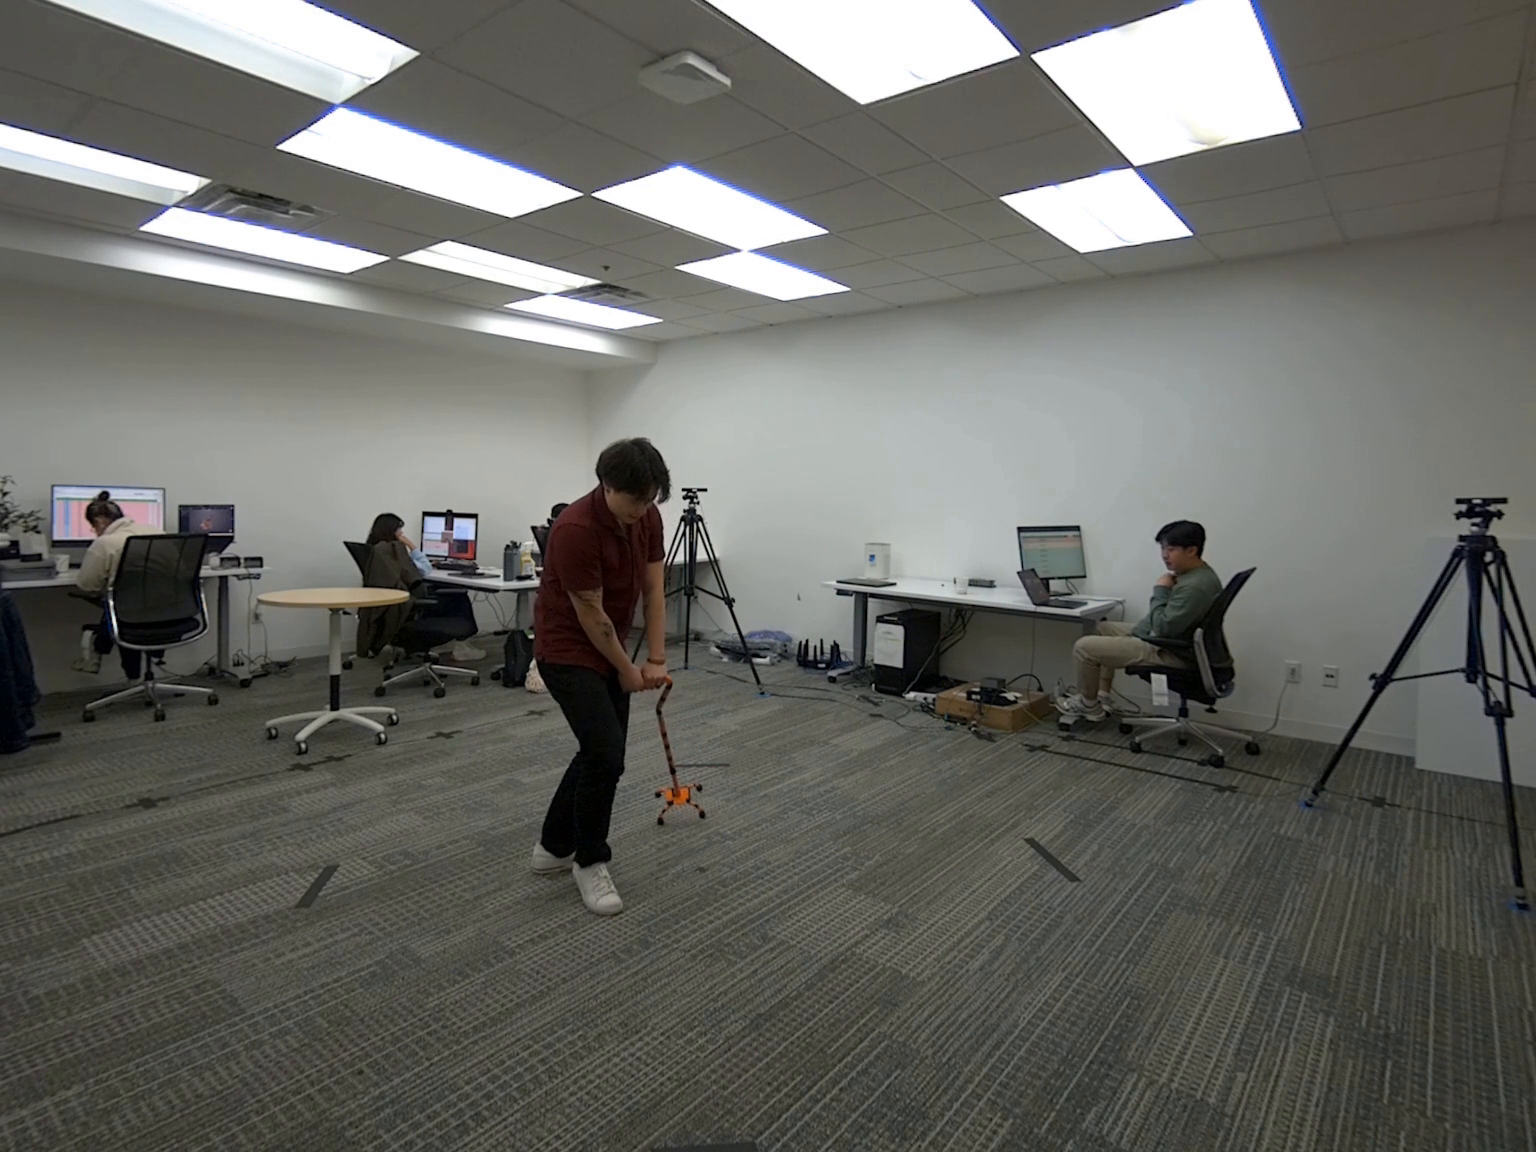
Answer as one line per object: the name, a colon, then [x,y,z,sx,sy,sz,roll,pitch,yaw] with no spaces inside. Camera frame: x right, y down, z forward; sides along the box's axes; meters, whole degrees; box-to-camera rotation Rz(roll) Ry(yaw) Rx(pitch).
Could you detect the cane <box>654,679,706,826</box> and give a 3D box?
cane: [-0.399,0.661,3.263,0.206,0.880,0.157,-8,46,-4]
